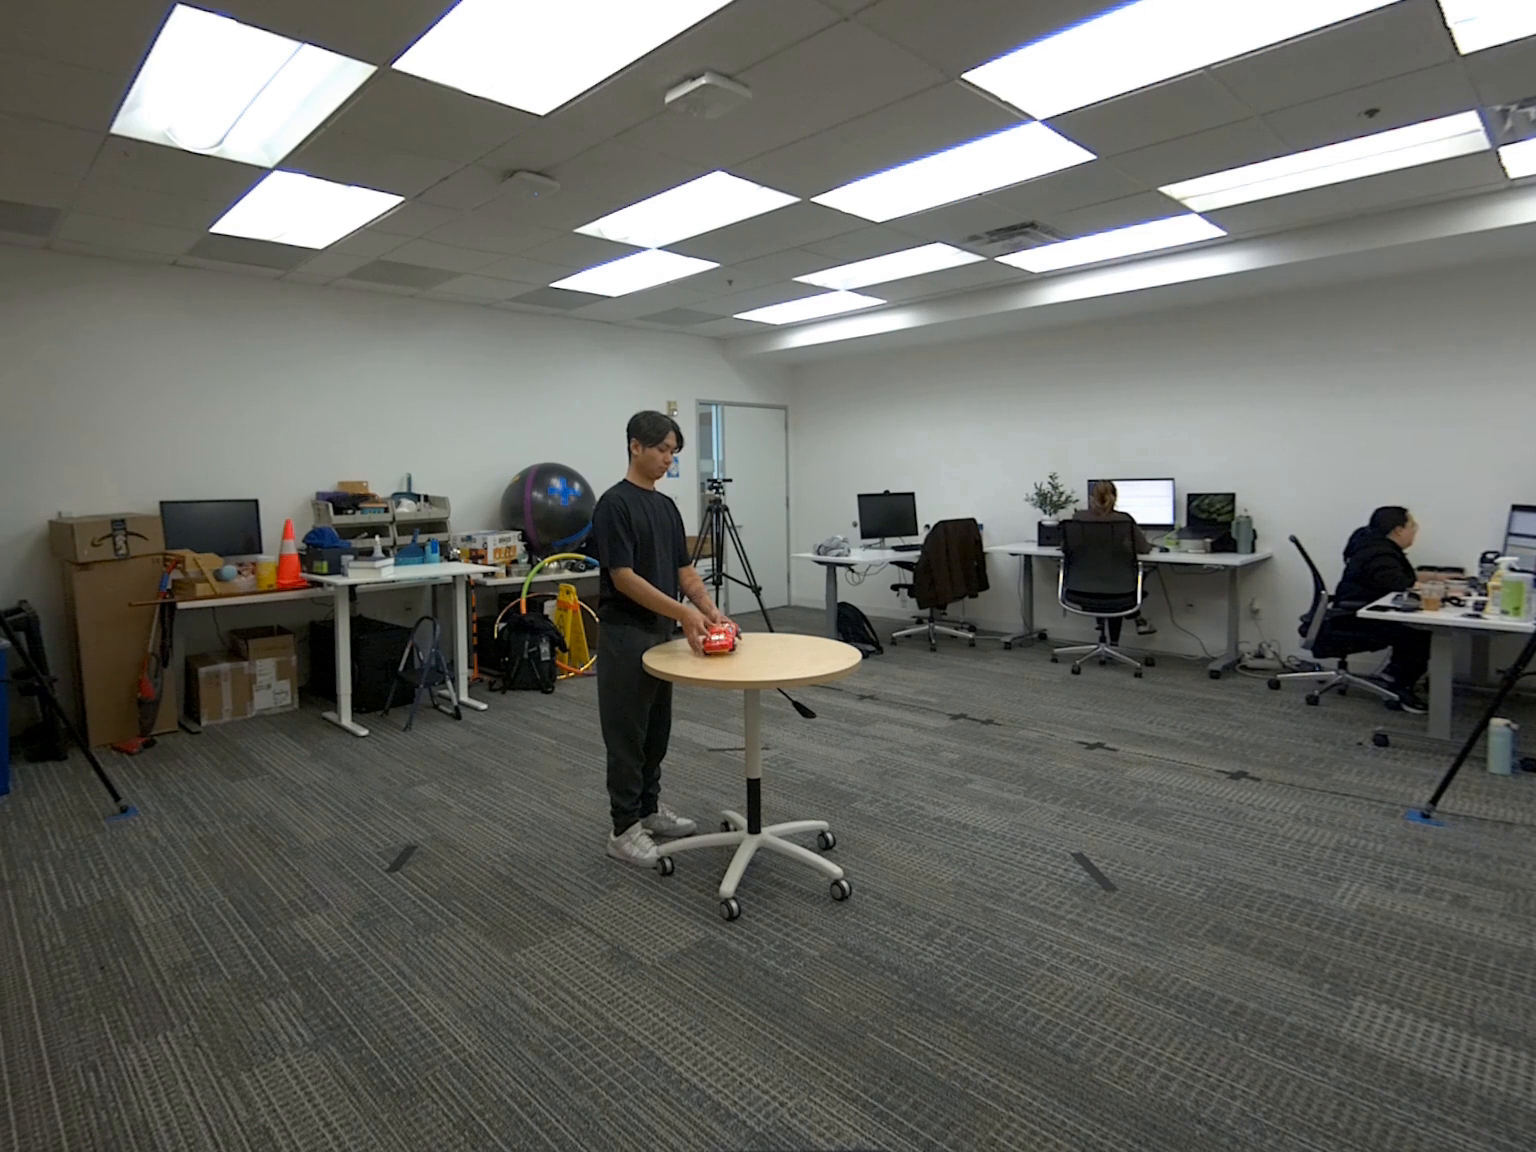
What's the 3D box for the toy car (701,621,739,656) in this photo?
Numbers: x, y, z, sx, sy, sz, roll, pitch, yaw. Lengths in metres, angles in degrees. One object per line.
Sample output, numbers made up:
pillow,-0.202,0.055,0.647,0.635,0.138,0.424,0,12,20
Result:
toy car,-0.176,0.226,3.049,0.131,0.083,0.253,-5,3,5
